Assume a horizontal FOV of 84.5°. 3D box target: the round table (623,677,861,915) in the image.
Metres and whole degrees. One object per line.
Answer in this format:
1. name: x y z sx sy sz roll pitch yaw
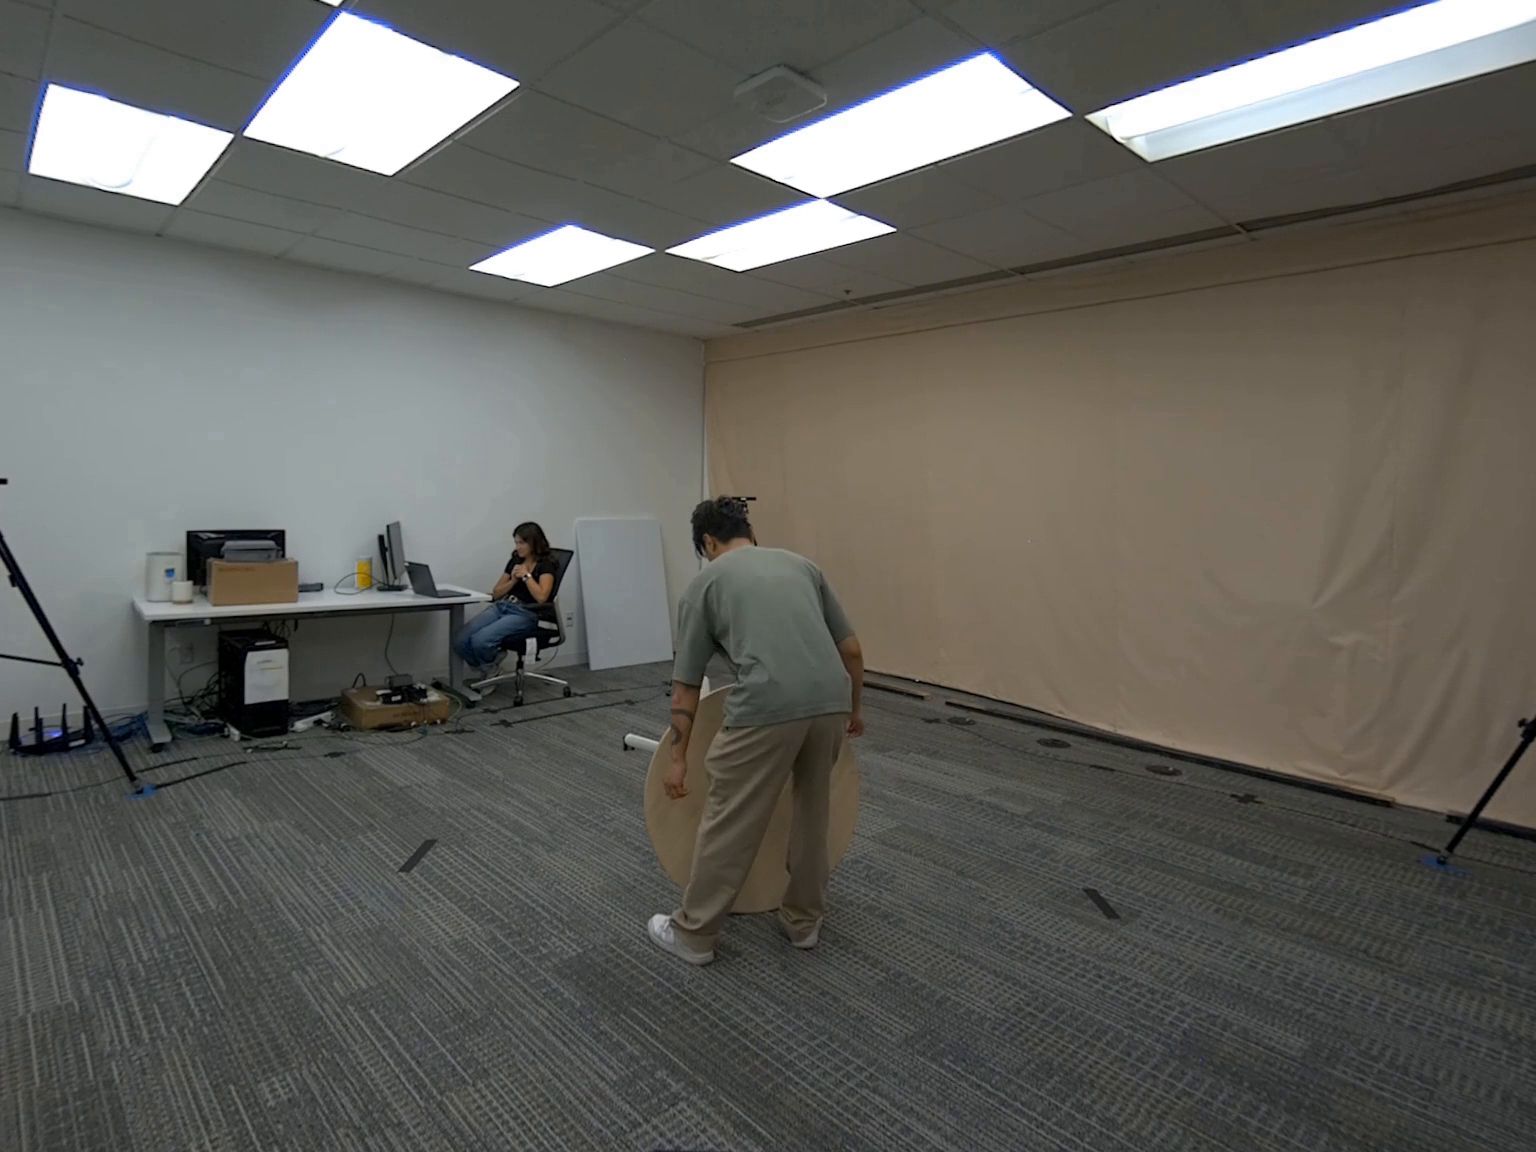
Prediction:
1. round table: -0.165 0.761 3.242 0.775 0.787 0.795 0 -3 -17
